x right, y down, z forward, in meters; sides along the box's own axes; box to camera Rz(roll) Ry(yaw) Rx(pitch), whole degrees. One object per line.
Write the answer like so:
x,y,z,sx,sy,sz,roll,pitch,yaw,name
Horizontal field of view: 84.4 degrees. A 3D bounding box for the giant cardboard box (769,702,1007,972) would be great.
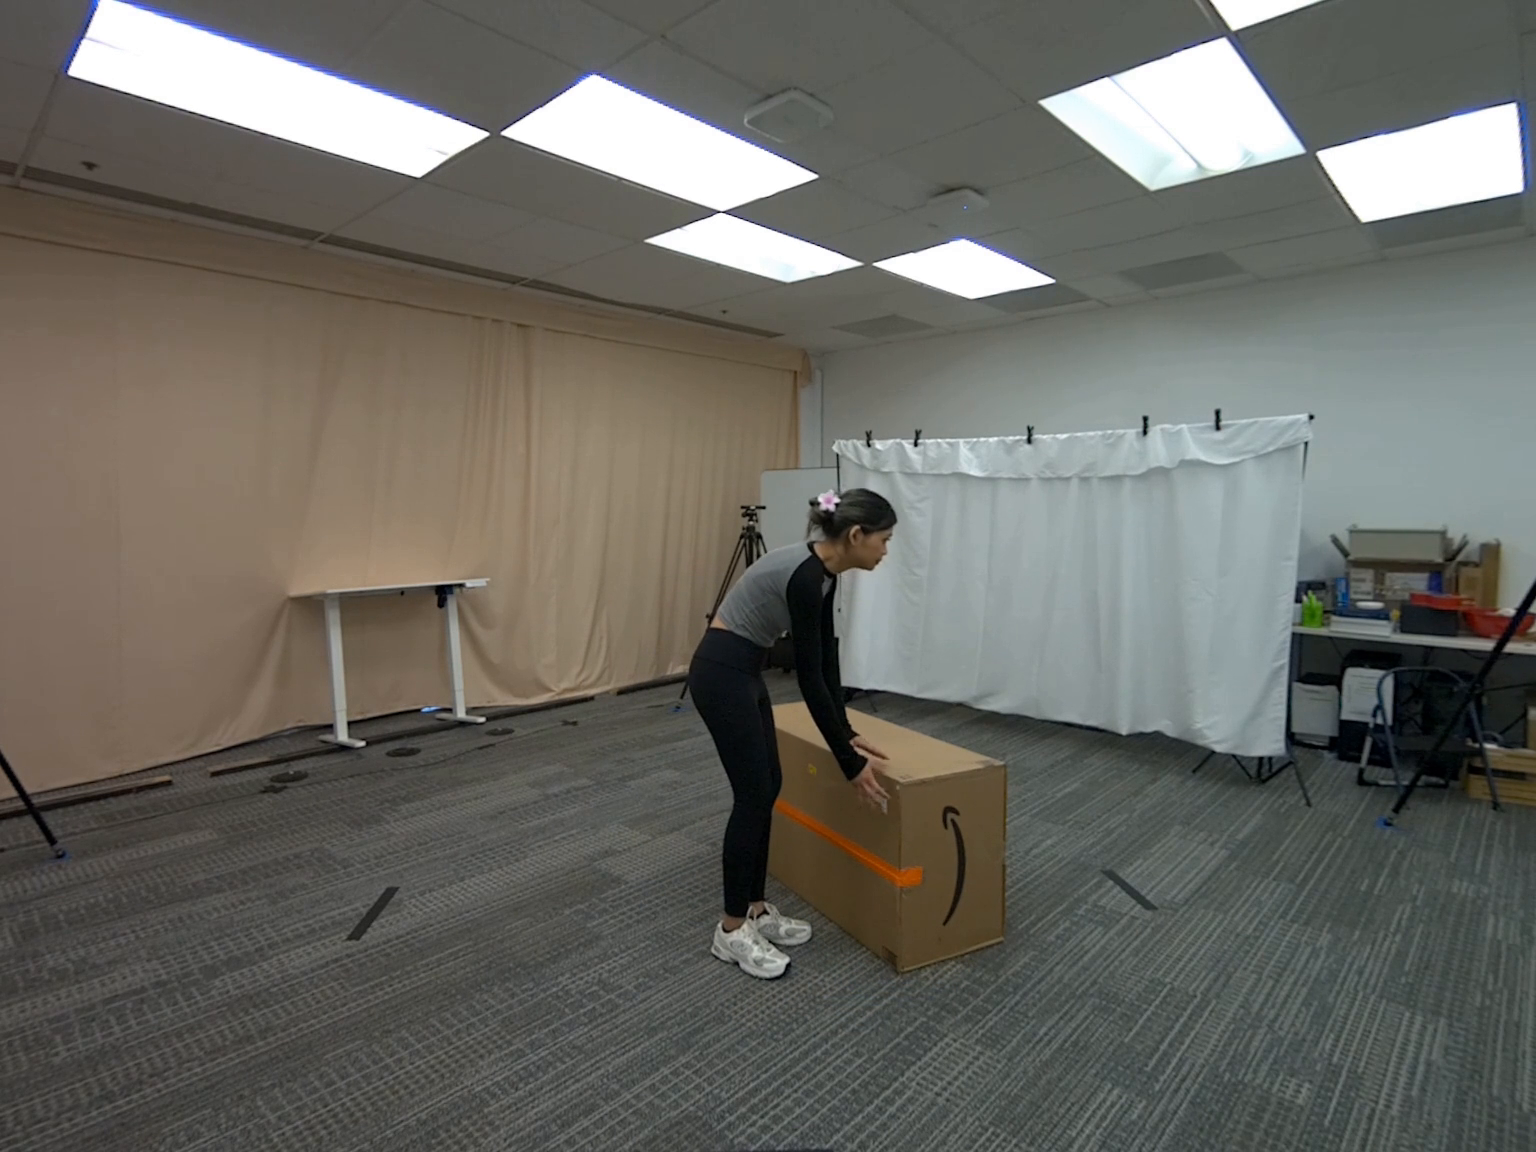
0.318,0.848,3.037,0.435,0.582,1.057,-3,5,-30,giant cardboard box
